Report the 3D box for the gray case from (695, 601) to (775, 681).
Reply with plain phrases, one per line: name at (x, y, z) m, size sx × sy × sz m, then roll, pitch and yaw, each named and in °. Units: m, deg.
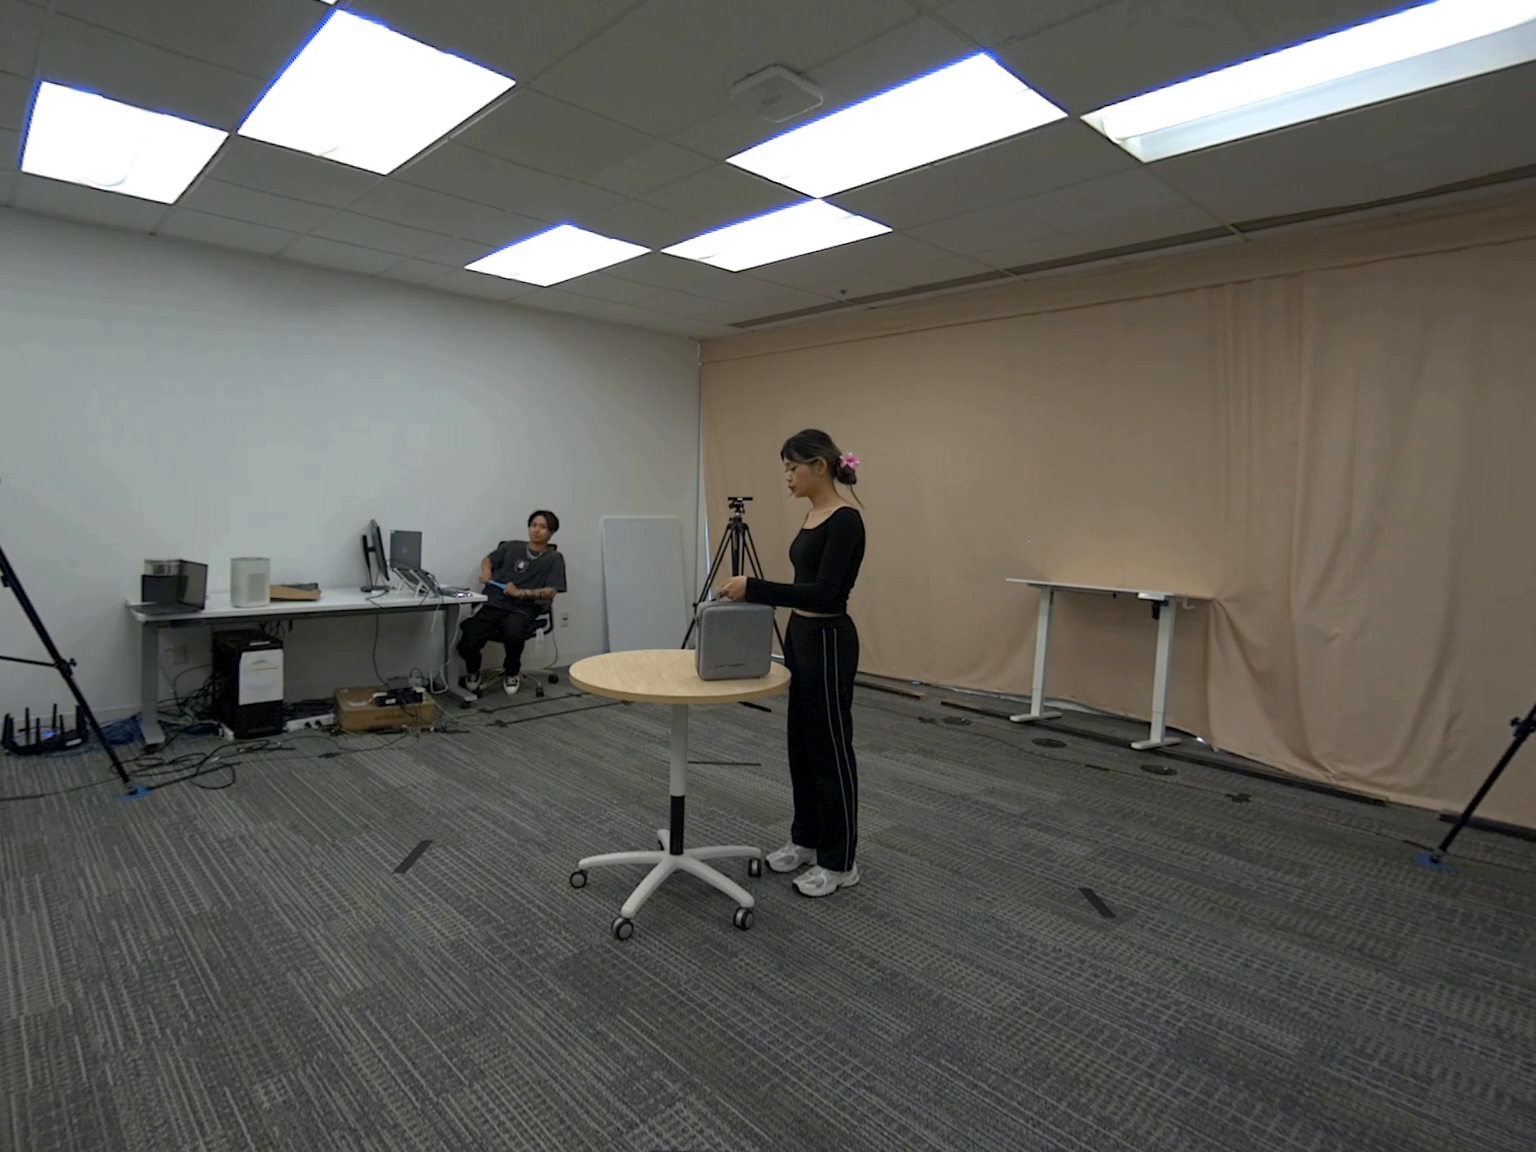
gray case at (-0.123, 0.206, 2.802) m, size 0.253 × 0.259 × 0.106 m, roll 0°, pitch 11°, yaw -18°
